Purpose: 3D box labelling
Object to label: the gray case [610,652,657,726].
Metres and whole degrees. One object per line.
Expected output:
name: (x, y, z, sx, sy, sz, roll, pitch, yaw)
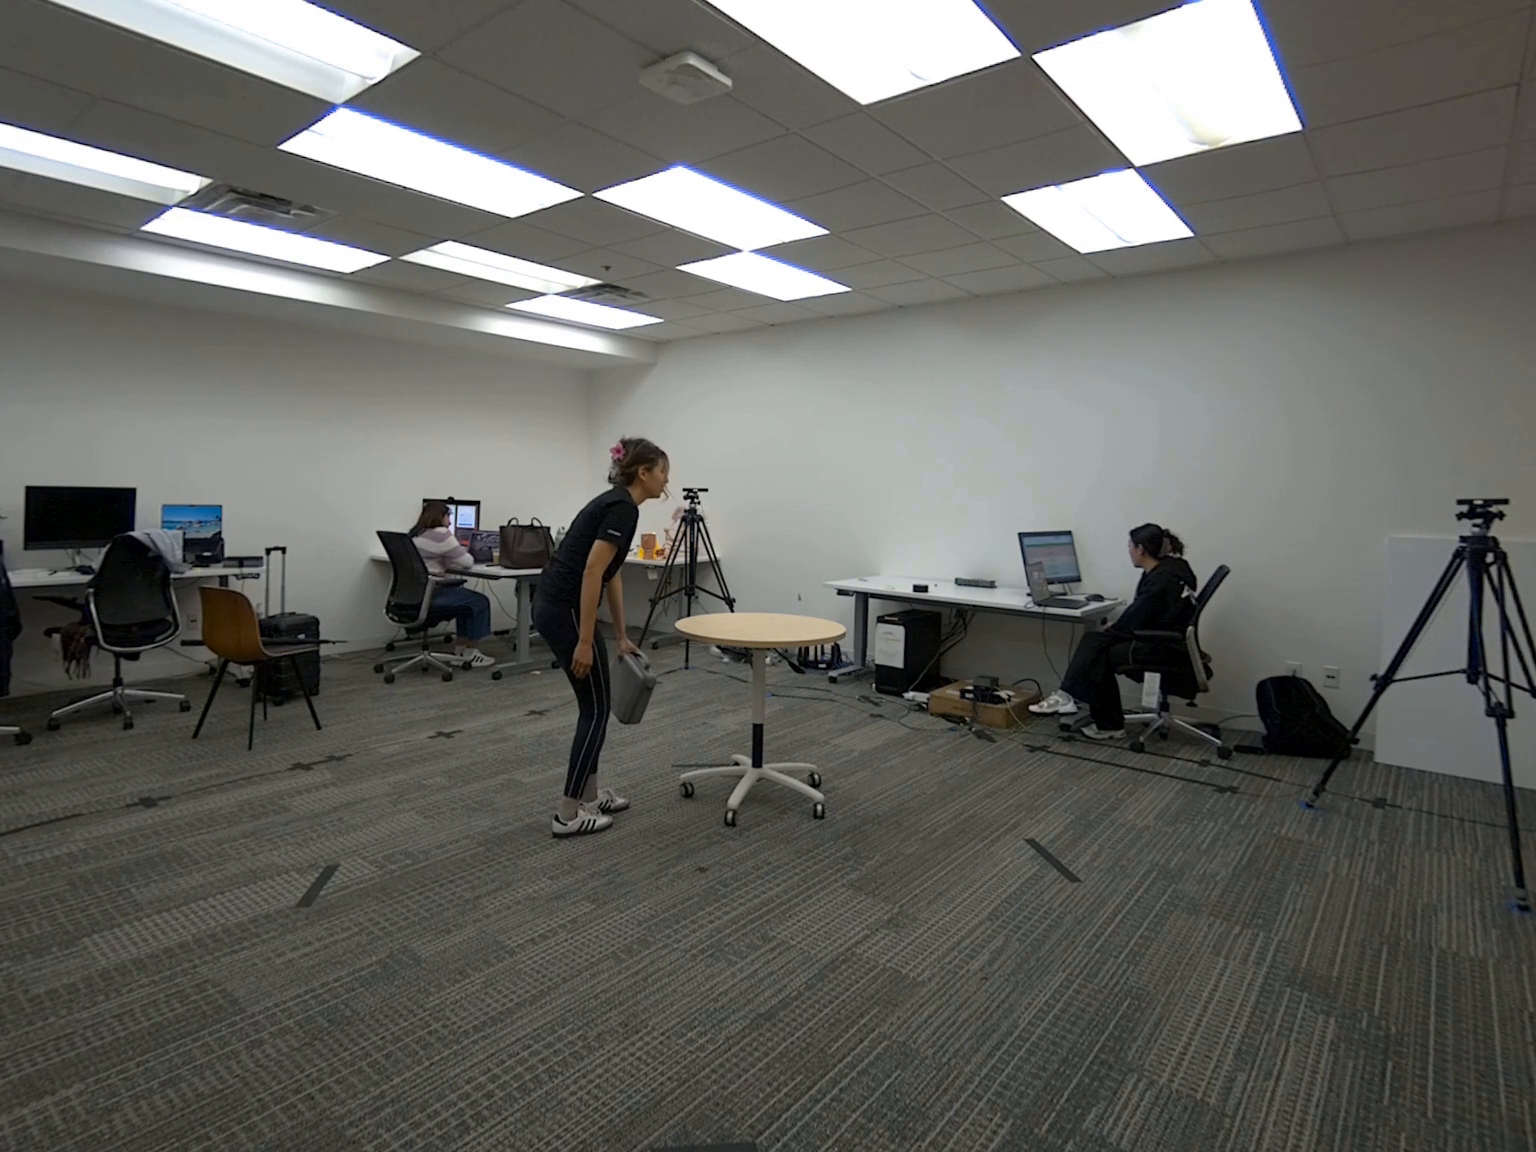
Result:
gray case: (-0.634, 0.489, 3.753, 0.101, 0.259, 0.268, 11, 17, -36)
